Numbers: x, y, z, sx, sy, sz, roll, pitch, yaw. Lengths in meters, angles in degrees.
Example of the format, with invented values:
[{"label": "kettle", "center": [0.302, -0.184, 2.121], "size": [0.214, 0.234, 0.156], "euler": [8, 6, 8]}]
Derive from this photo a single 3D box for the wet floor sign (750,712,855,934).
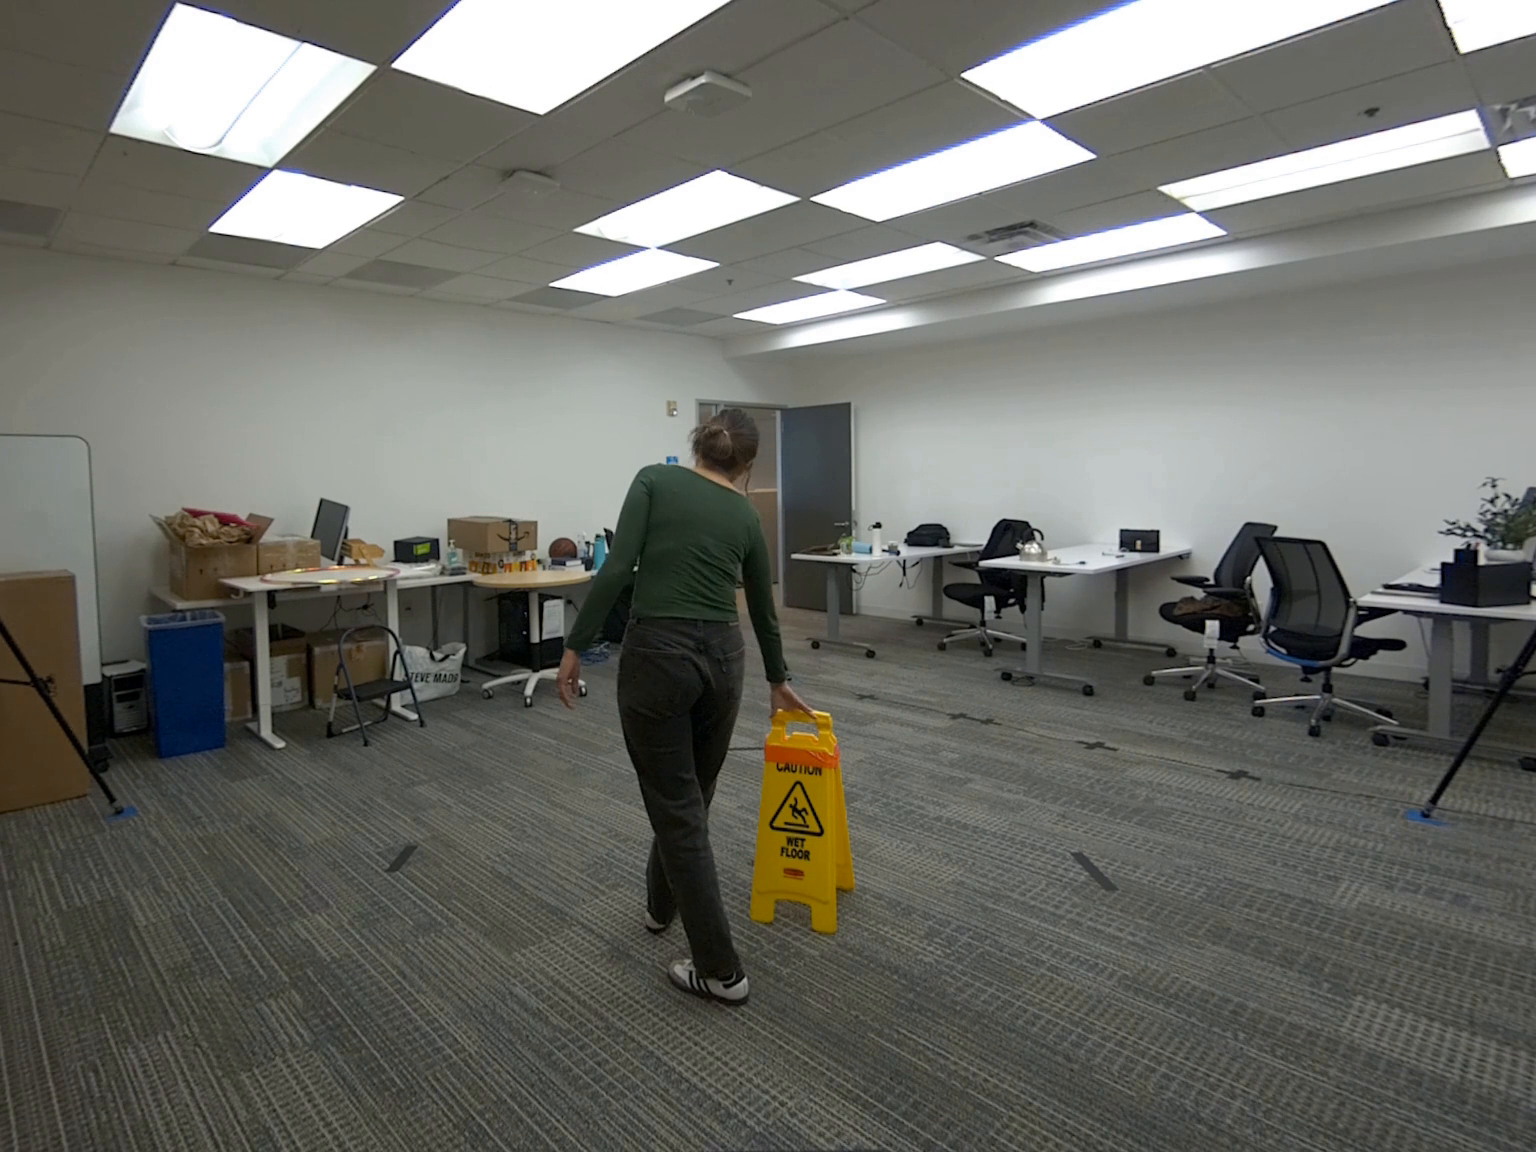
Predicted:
[{"label": "wet floor sign", "center": [0.118, 0.757, 2.785], "size": [0.288, 0.644, 0.285], "euler": [2, 4, 19]}]
